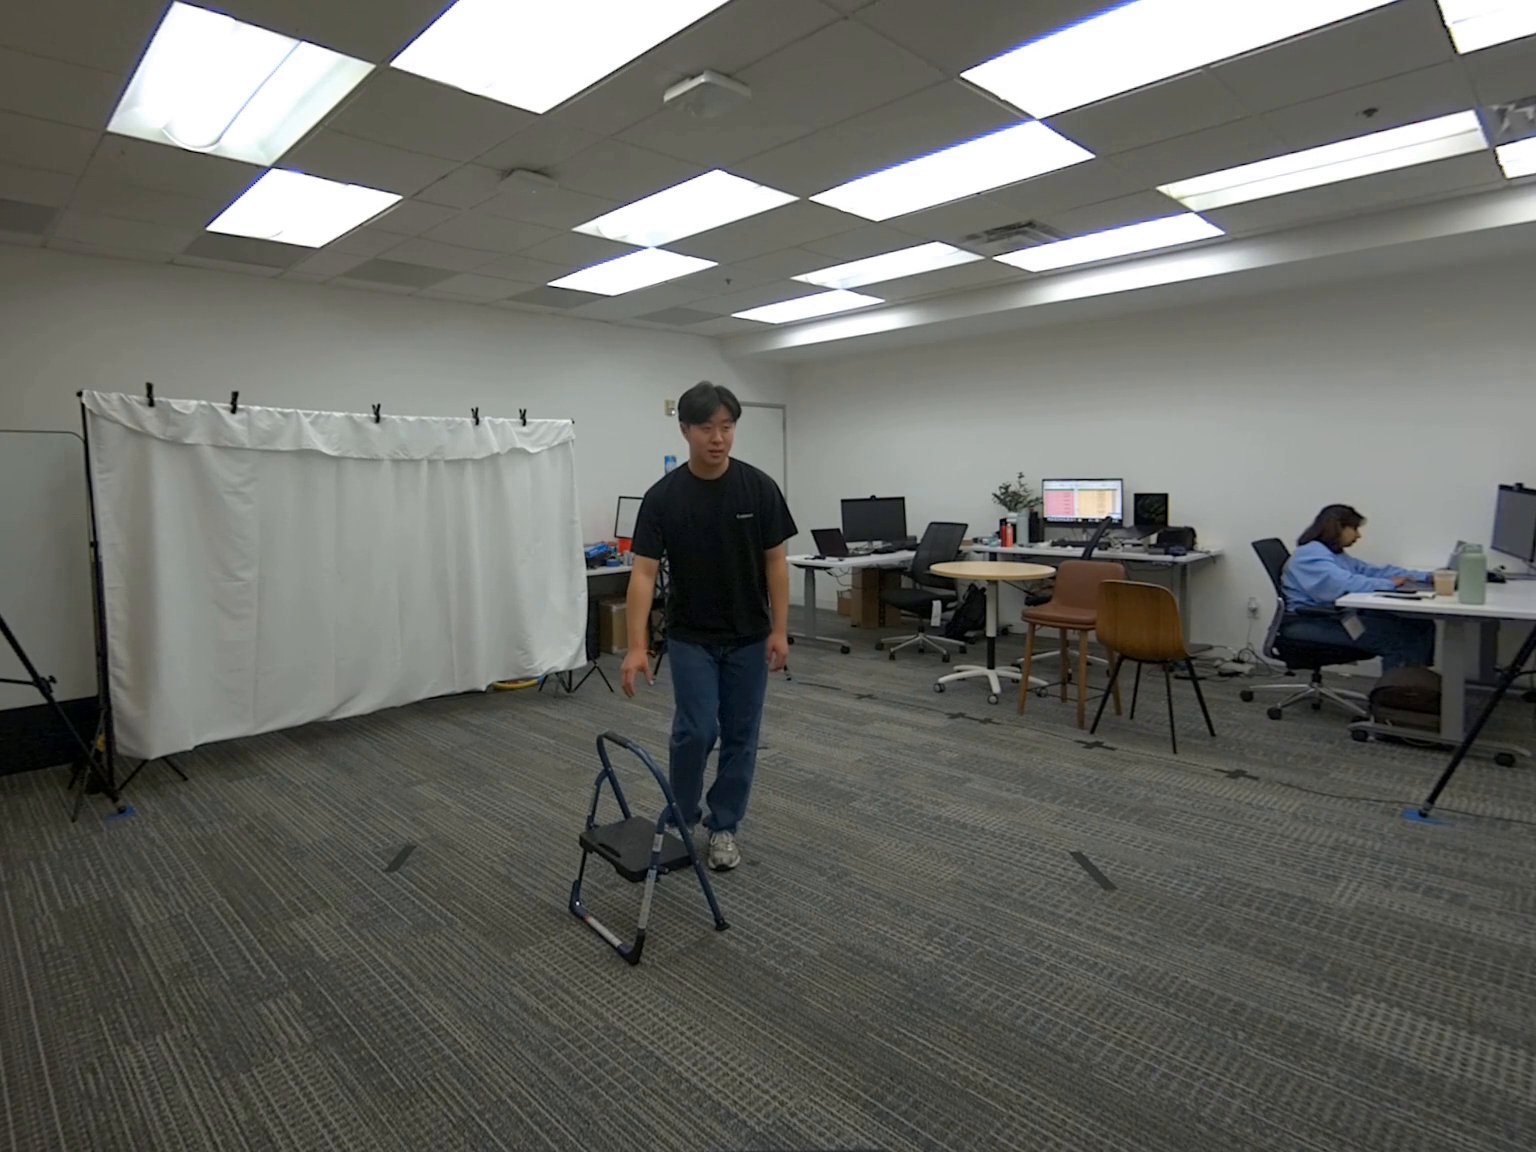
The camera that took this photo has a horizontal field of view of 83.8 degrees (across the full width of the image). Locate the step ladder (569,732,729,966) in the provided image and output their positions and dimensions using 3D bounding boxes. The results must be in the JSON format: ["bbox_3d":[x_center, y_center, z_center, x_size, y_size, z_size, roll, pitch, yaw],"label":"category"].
[{"bbox_3d":[-0.393,0.792,2.705,0.340,0.603,0.444,-5,6,-39],"label":"step ladder"}]
